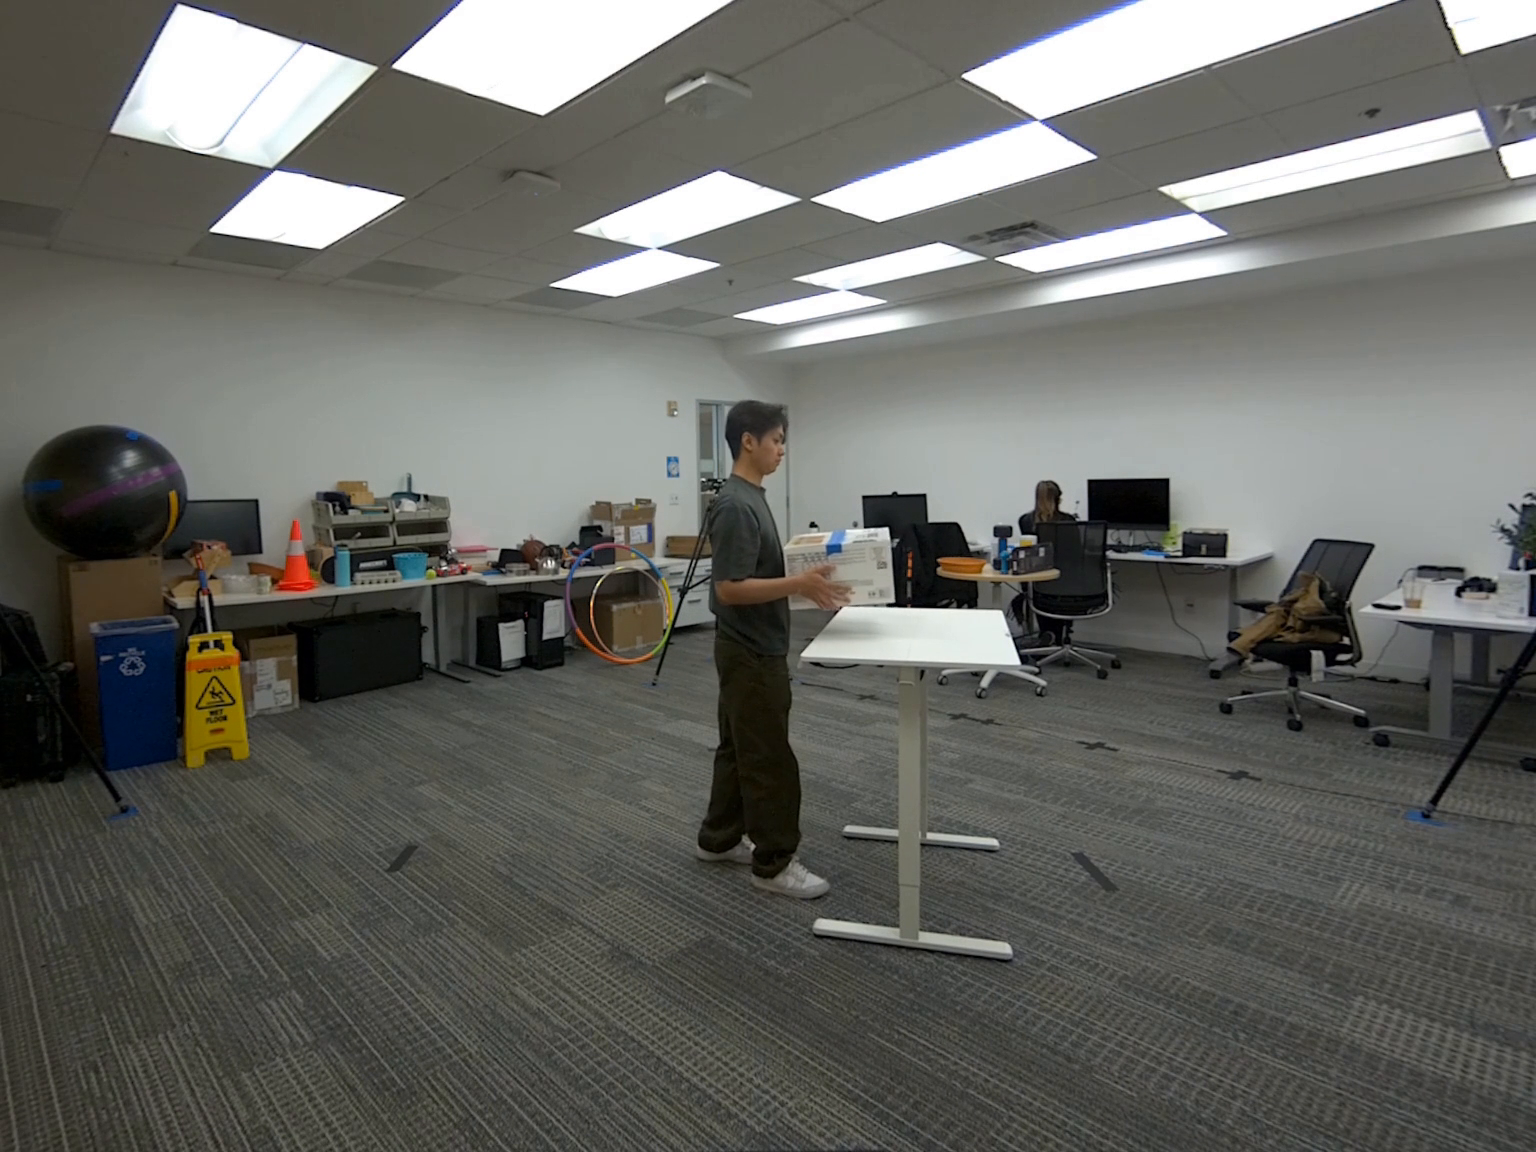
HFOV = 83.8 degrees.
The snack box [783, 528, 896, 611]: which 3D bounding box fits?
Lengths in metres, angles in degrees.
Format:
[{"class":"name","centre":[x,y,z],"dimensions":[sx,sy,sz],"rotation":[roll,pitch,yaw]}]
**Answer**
[{"class":"snack box","centre":[0.247,-0.032,2.909],"dimensions":[0.343,0.204,0.404],"rotation":[-4,8,9]}]
